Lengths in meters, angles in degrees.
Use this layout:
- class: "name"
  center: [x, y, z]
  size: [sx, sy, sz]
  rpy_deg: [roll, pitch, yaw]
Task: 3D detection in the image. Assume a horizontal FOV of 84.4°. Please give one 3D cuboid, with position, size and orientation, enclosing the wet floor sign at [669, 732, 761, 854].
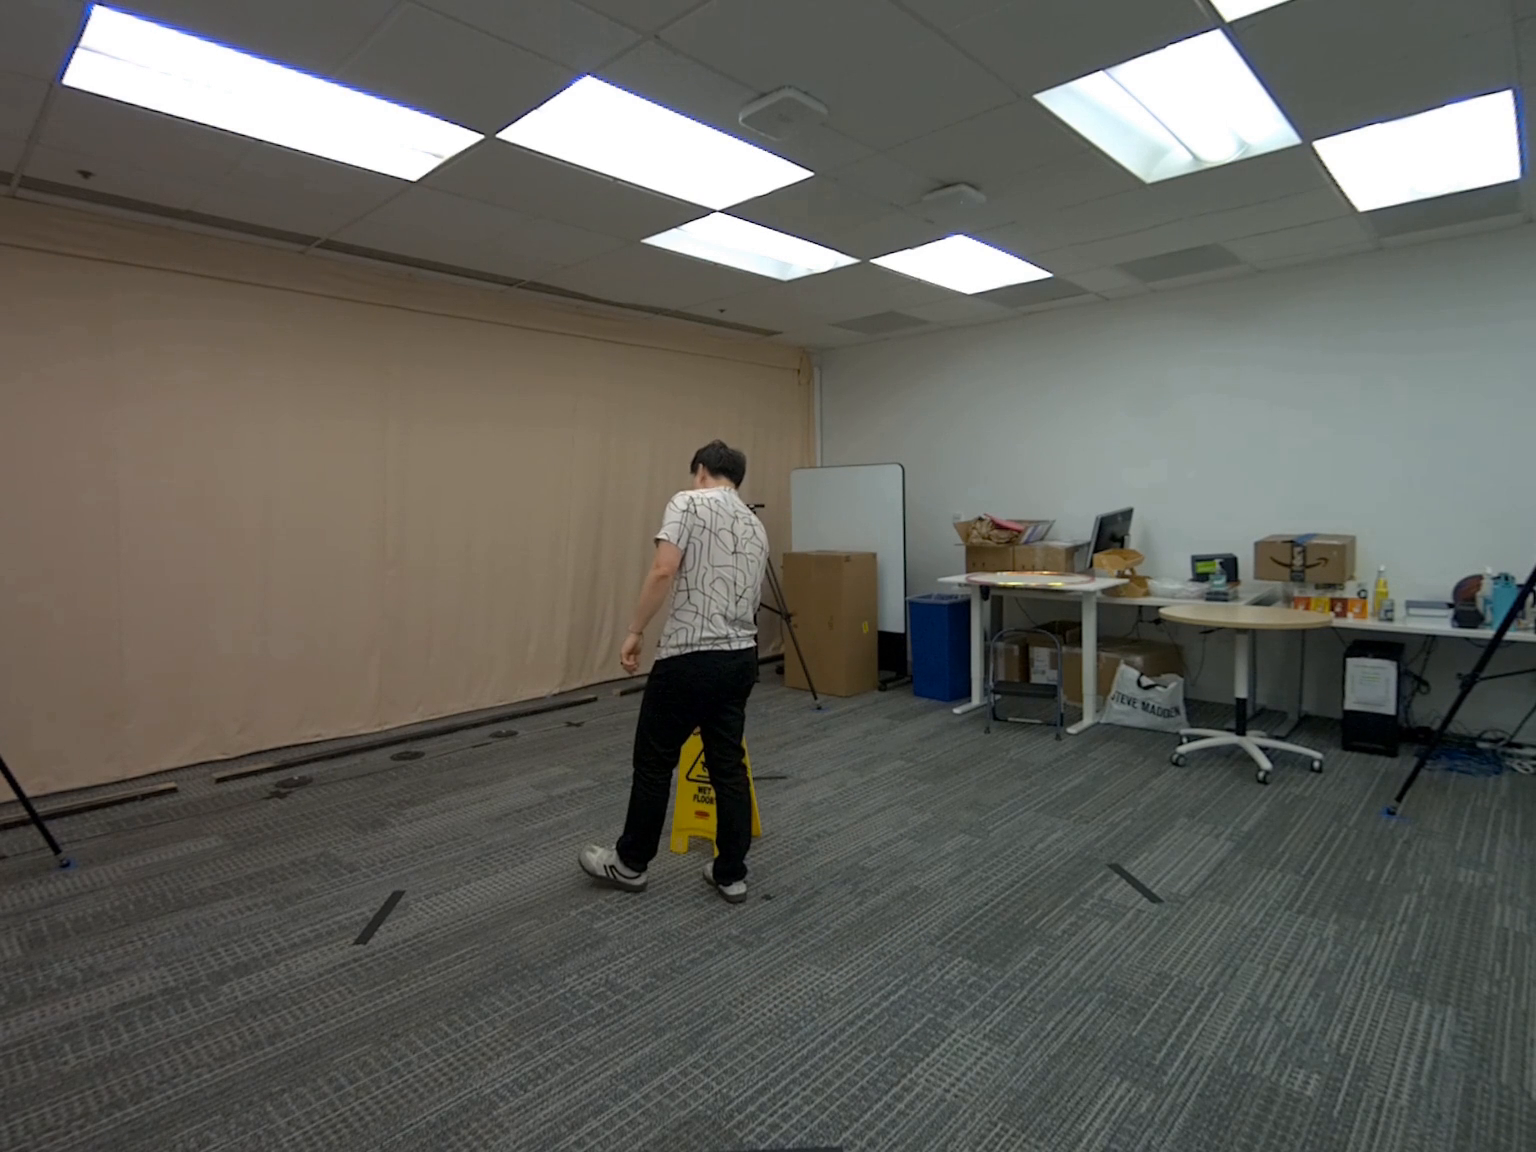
- class: "wet floor sign"
  center: [-0.219, 0.780, 3.455]
  size: [0.289, 0.645, 0.283]
  rpy_deg: [-1, 3, 26]
